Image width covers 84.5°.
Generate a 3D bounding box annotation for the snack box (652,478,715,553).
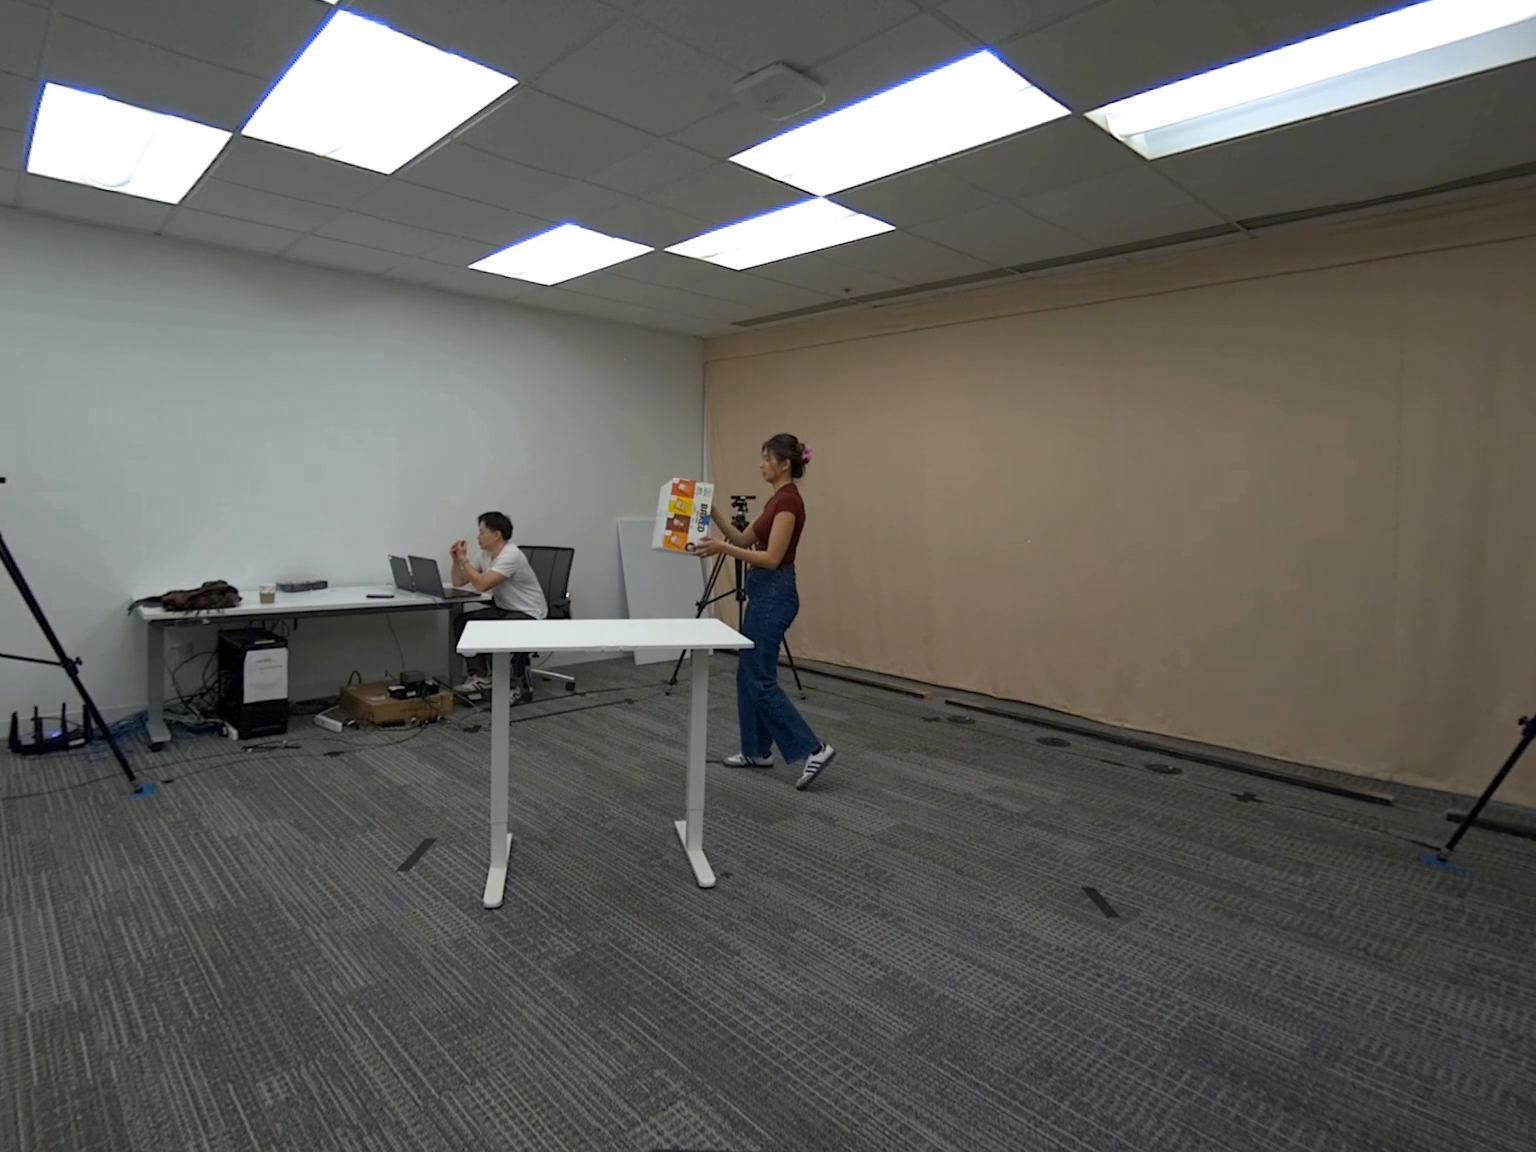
[{"bbox_3d":[-0.432,-0.281,4.170,0.203,0.341,0.409,9,-4,-14],"label":"snack box"}]
